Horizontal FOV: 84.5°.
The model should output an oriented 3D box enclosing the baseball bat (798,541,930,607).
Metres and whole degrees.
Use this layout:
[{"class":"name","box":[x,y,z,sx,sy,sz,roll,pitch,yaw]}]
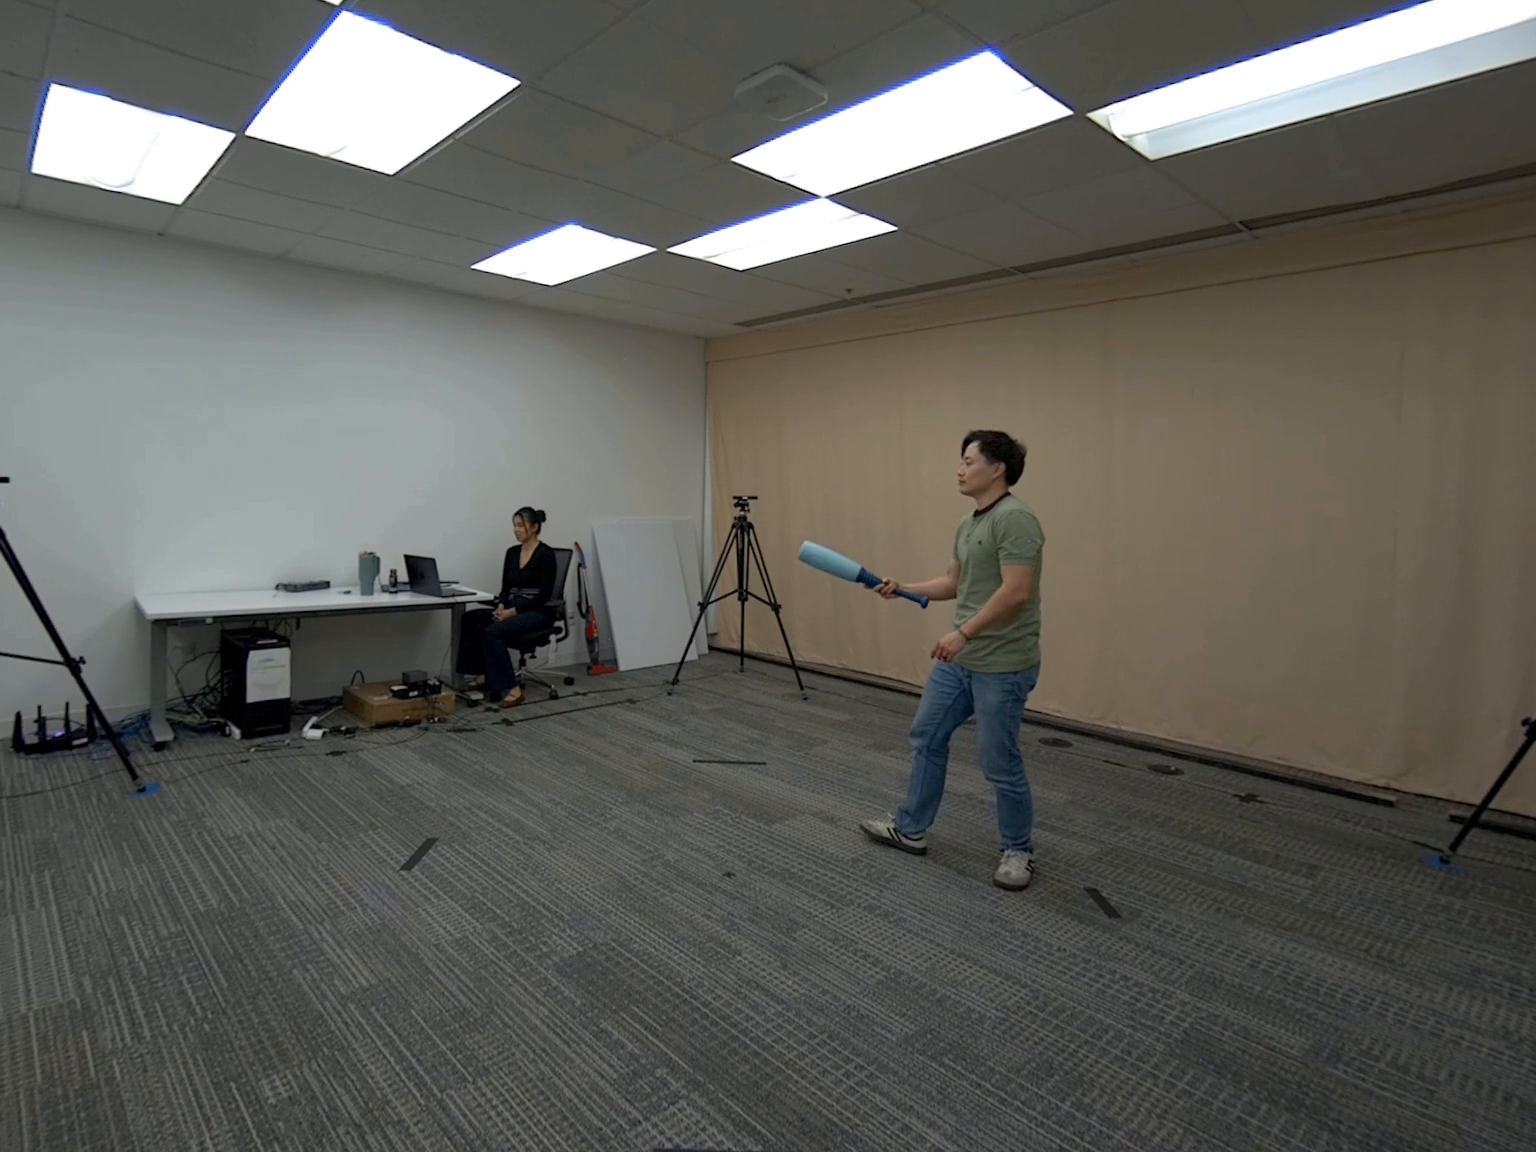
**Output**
[{"class":"baseball bat","box":[0.377,0.022,3.333,0.550,0.089,0.088,24,9,12]}]
